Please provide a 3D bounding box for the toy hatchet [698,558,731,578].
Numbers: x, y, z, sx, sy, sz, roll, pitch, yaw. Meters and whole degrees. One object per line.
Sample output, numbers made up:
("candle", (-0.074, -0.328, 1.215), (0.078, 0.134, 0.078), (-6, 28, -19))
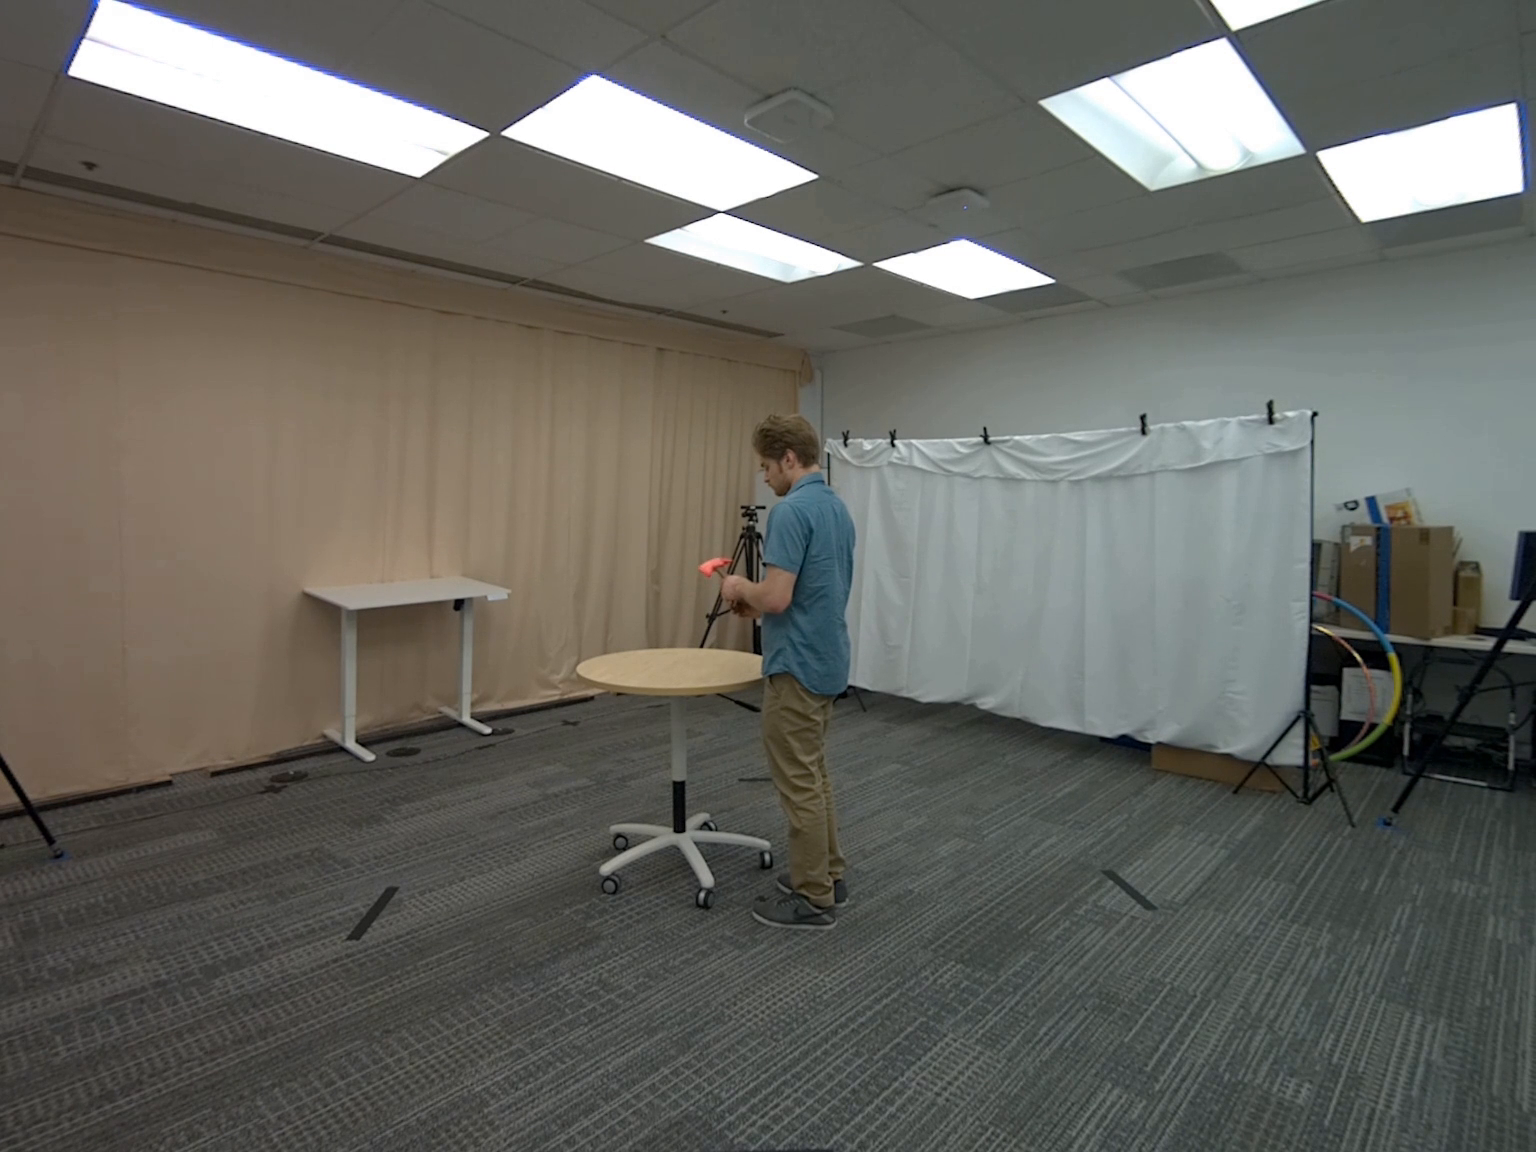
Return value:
("toy hatchet", (-0.153, 0.026, 3.007), (0.130, 0.029, 0.276), (-1, 37, -8))
